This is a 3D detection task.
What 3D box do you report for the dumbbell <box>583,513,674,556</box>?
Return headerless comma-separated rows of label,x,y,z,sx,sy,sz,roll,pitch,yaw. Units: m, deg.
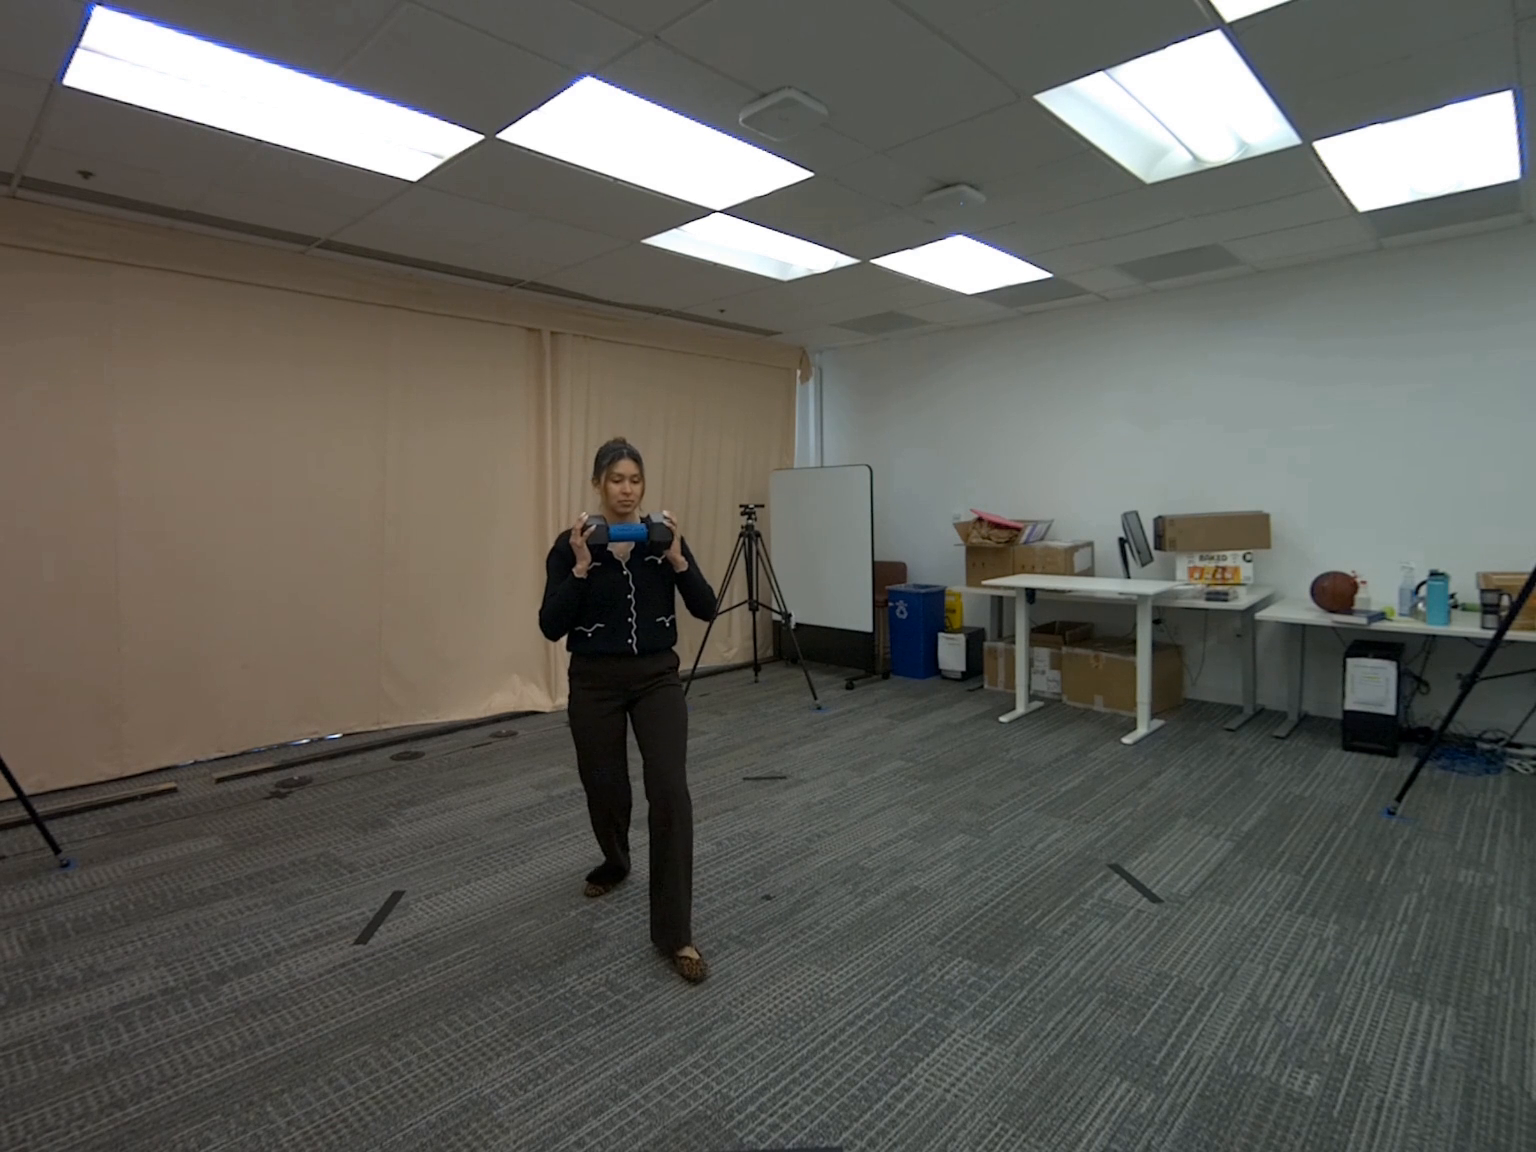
dumbbell,-0.451,-0.132,2.731,0.288,0.111,0.122,-4,-31,-18
